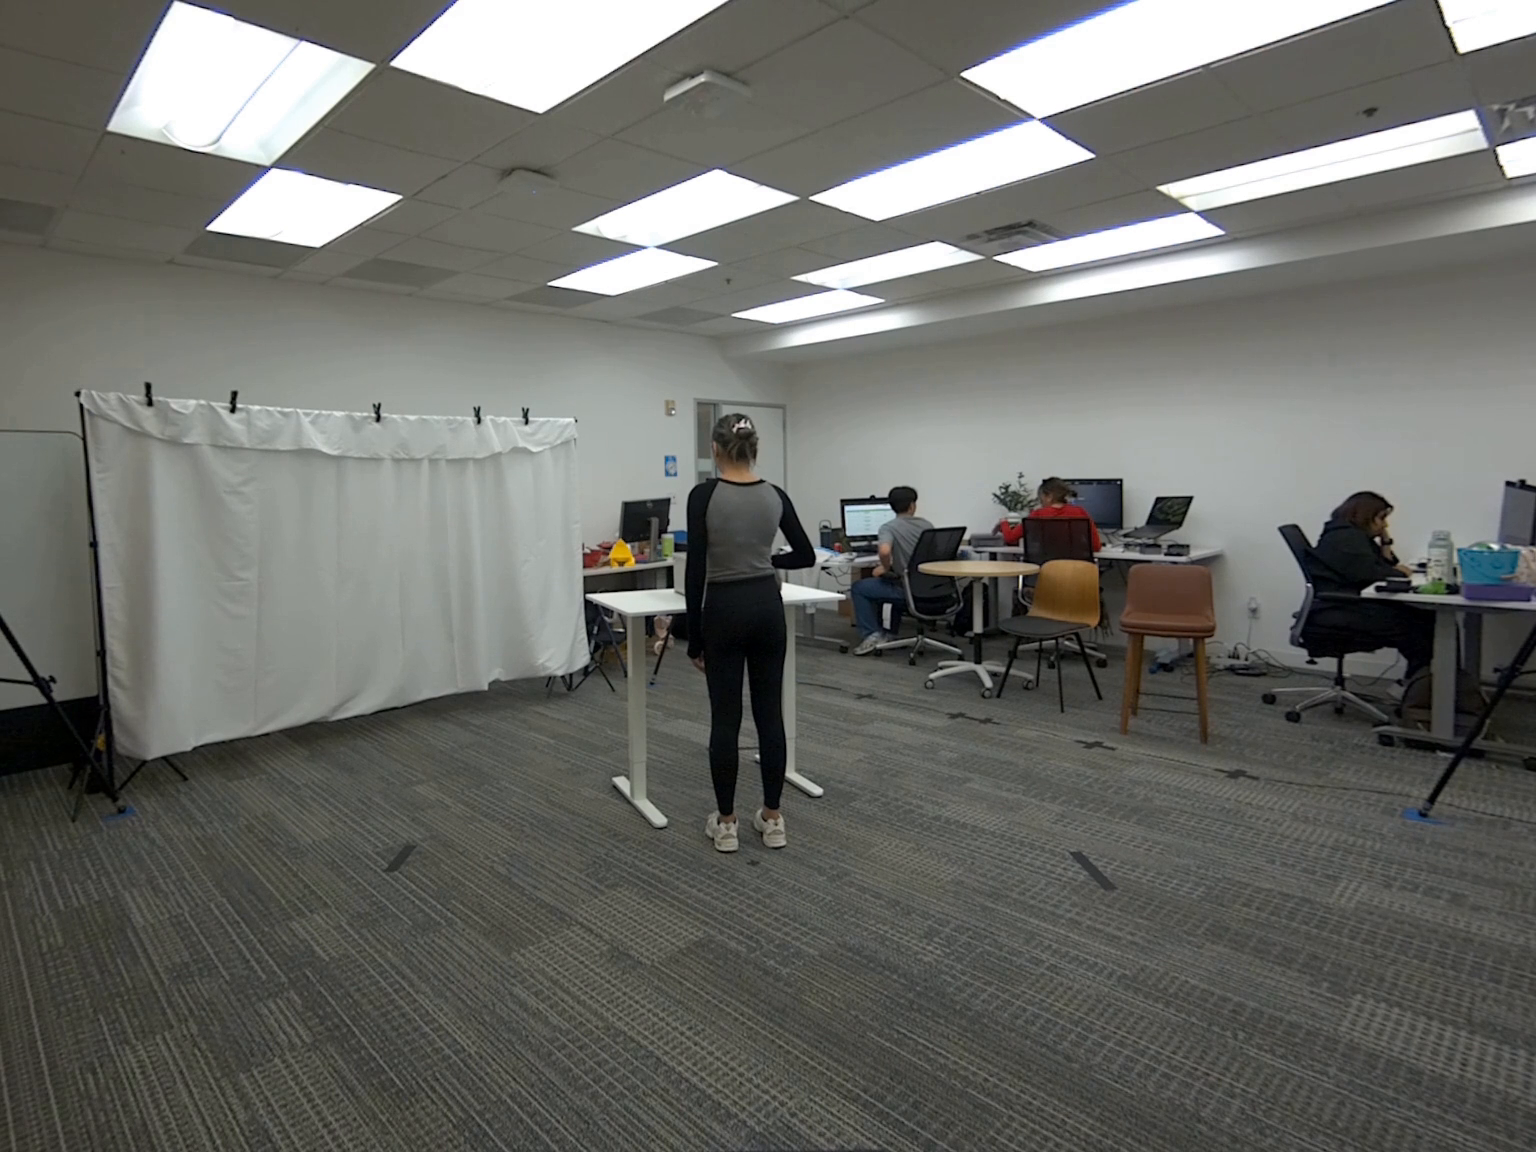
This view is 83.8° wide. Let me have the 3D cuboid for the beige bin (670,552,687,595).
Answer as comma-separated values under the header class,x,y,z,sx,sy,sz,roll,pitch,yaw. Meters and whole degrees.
class,x,y,z,sx,sy,sz,roll,pitch,yaw
beige bin,-0.185,0.000,3.768,0.371,0.188,0.432,-5,7,-20
